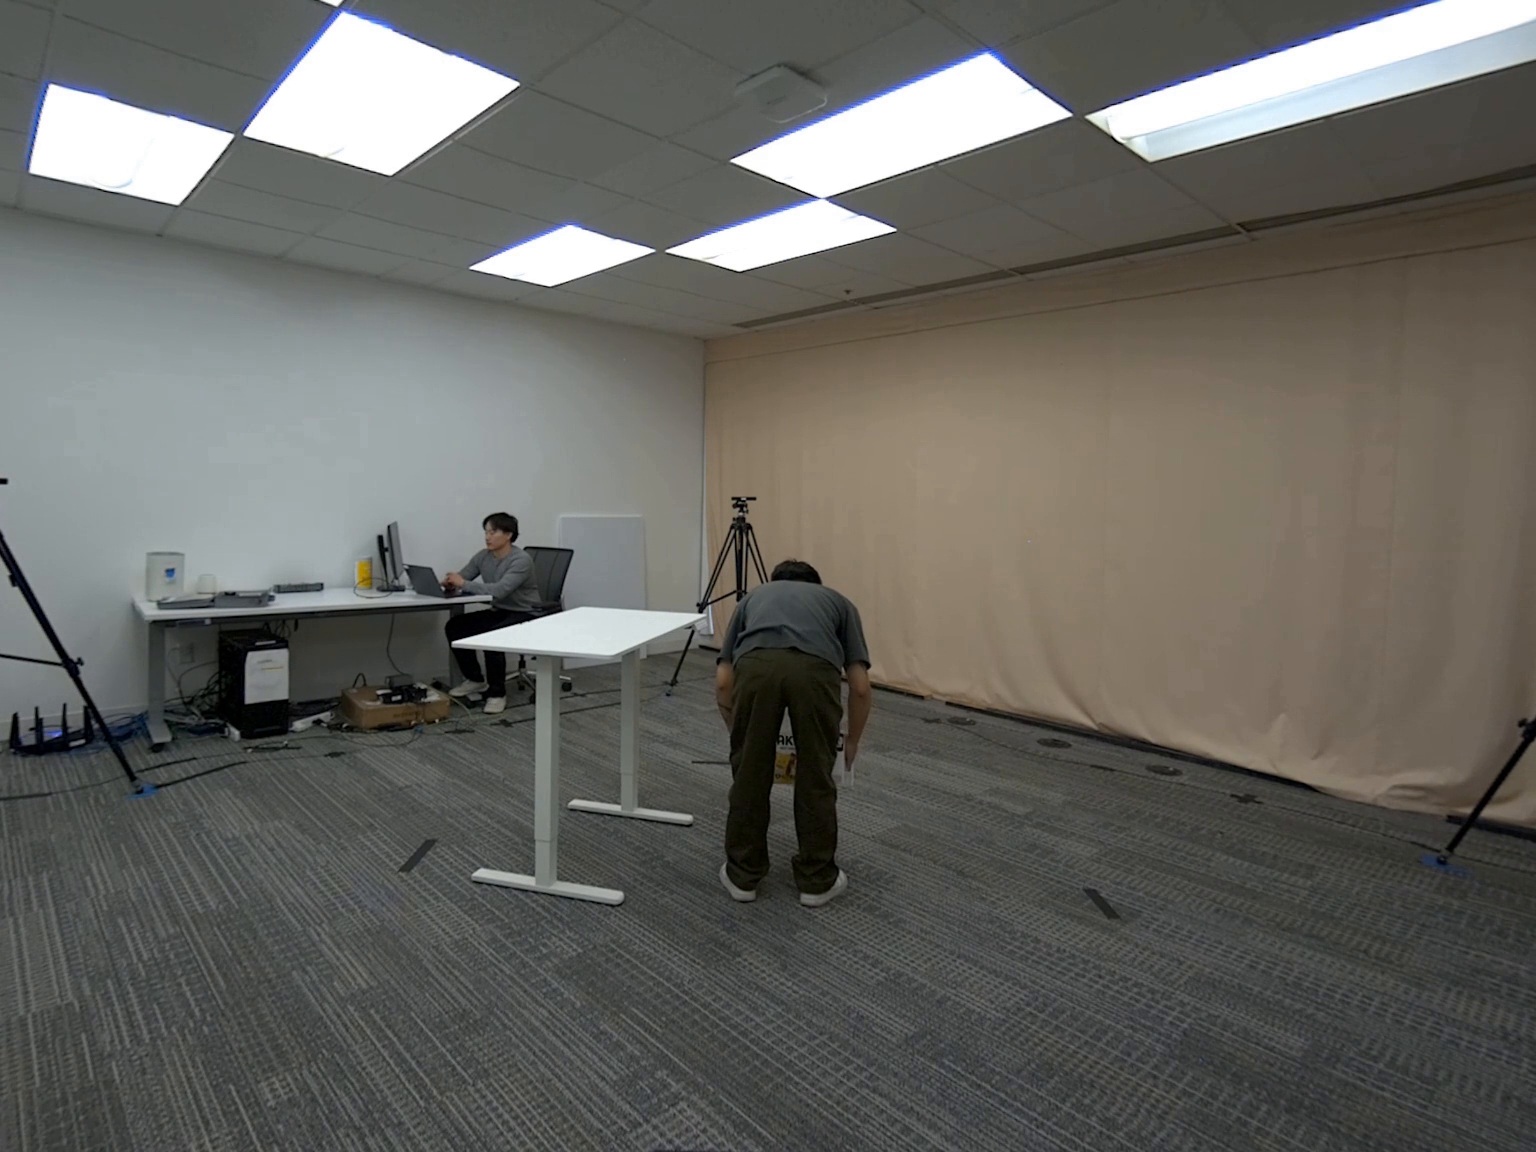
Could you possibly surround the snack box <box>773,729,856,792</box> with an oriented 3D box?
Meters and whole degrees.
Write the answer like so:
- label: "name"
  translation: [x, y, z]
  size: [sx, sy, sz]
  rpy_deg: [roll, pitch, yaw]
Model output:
- label: "snack box"
  translation: [0.112, 0.700, 3.251]
  size: [0.409, 0.207, 0.333]
  rpy_deg: [0, -13, 13]
